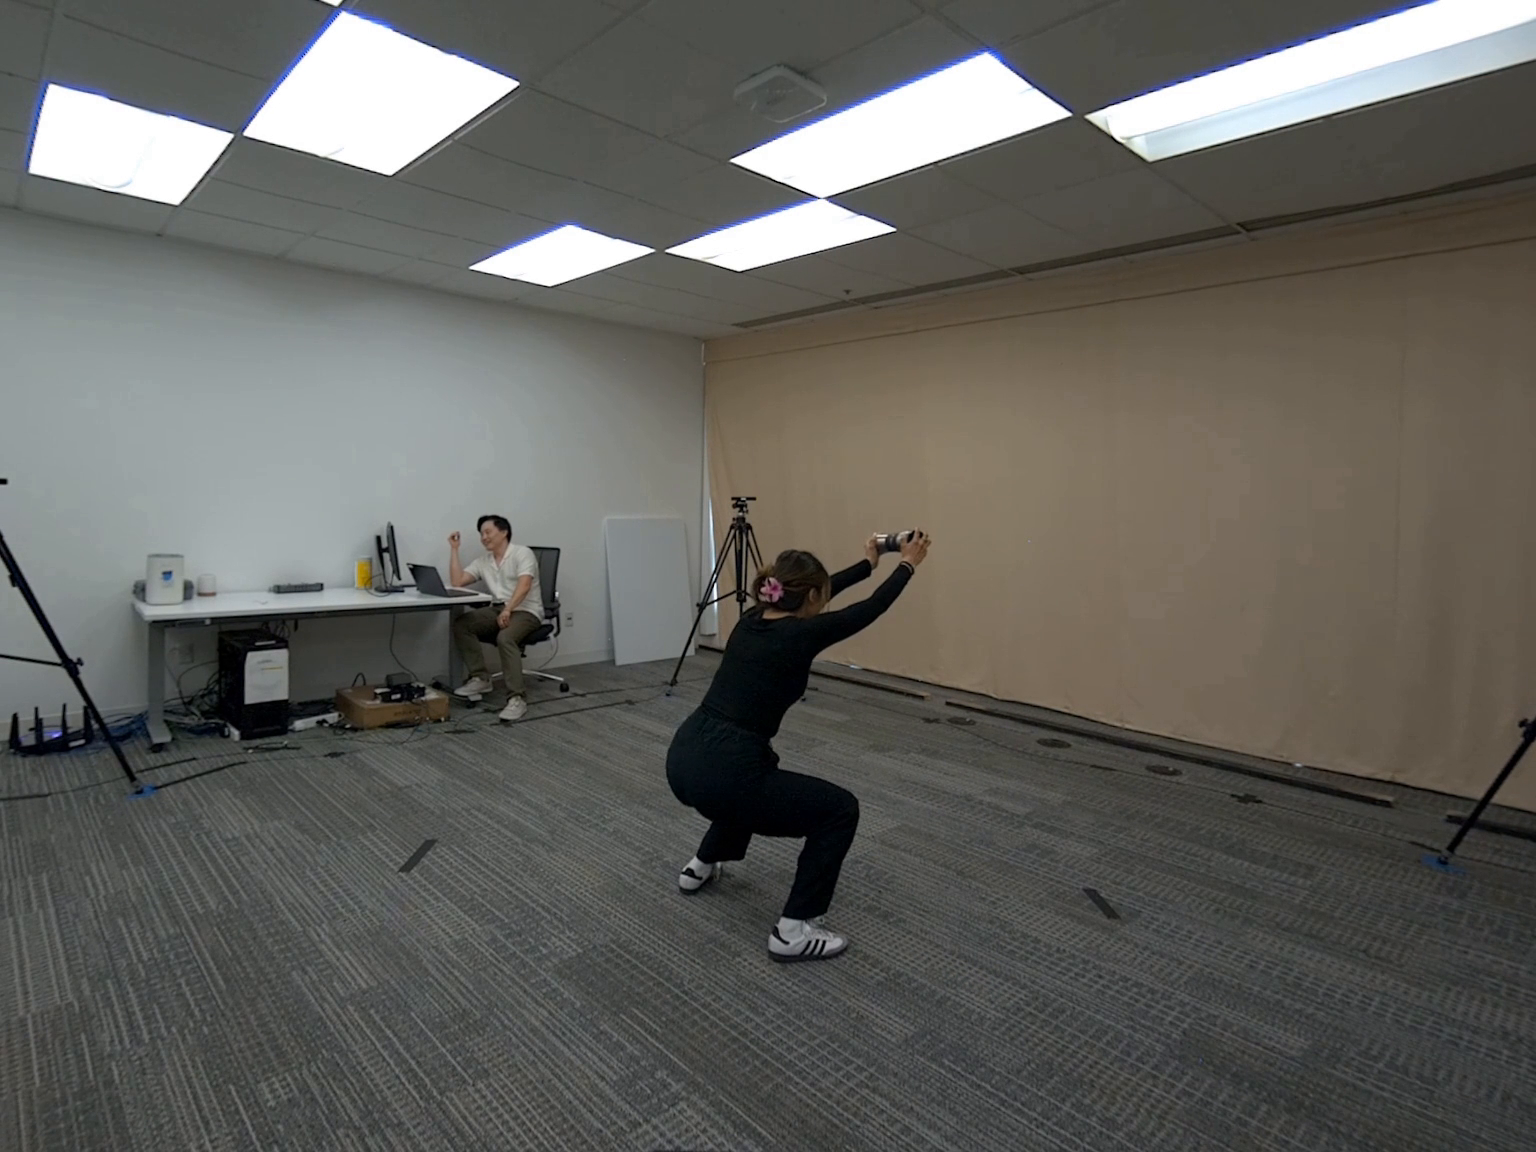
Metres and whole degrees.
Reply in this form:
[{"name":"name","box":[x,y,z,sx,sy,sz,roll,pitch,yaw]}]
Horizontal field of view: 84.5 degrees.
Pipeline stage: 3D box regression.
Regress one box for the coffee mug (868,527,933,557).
[{"name":"coffee mug","box":[0.490,-0.128,3.164,0.119,0.088,0.207,-3,-1,-34]}]
